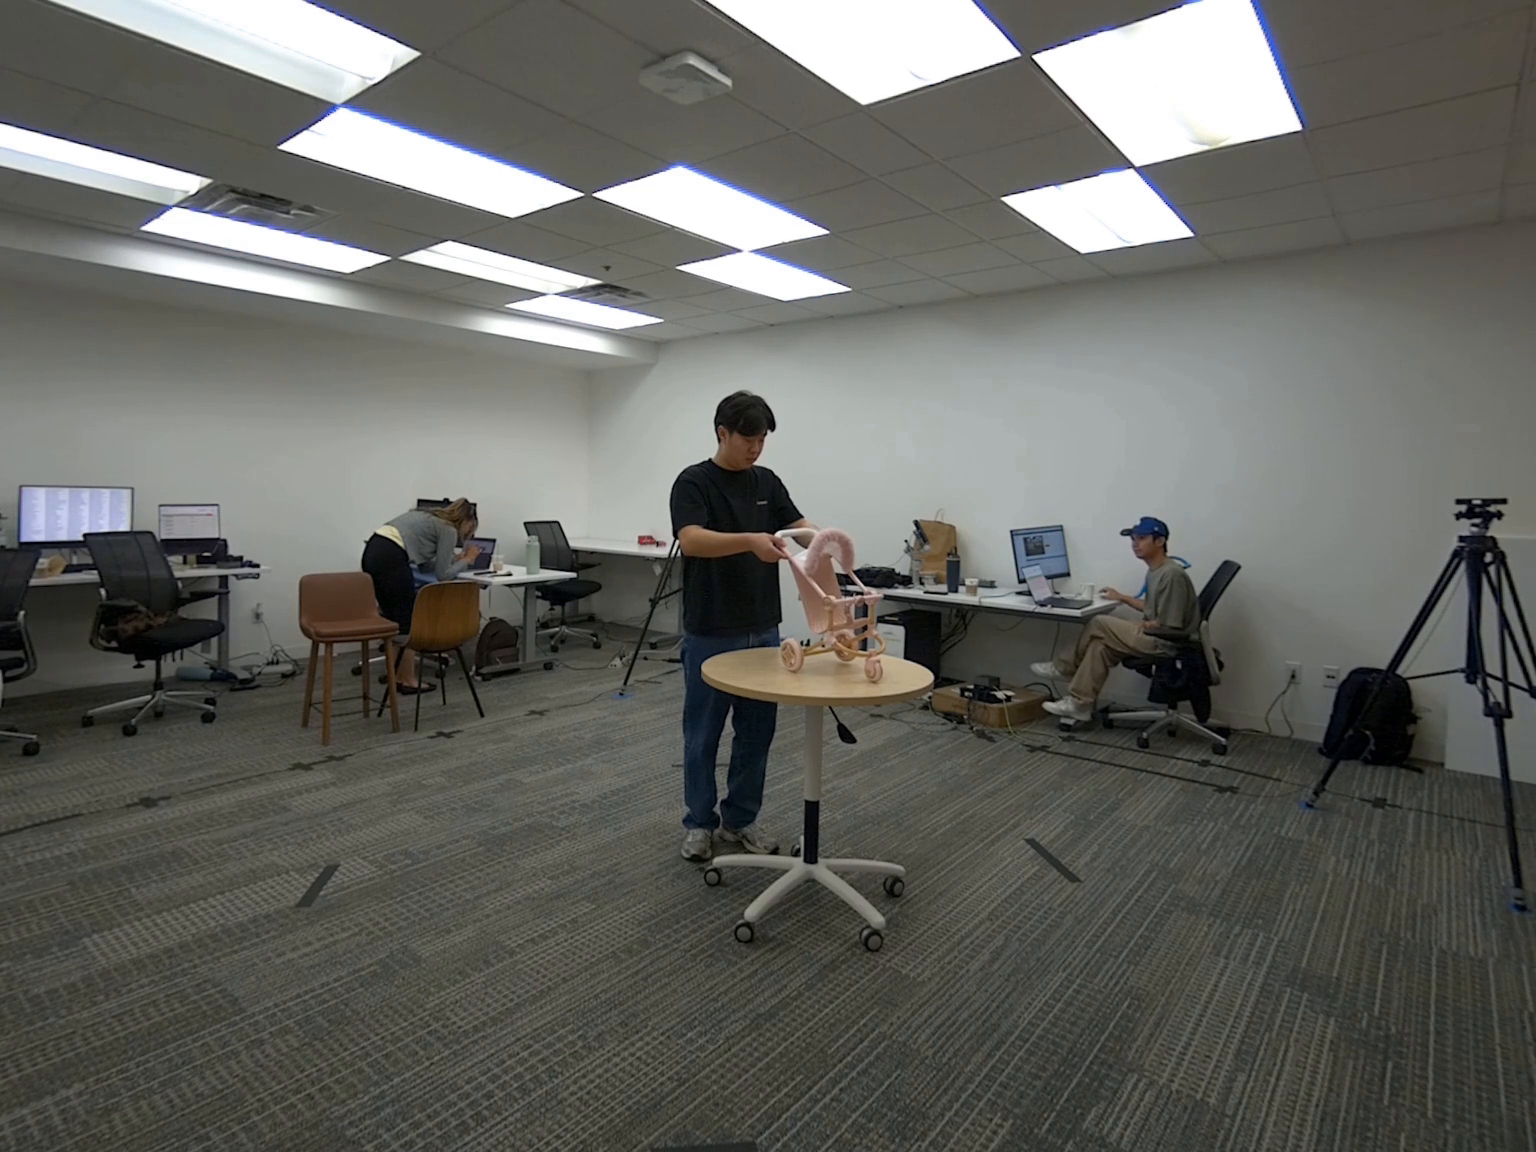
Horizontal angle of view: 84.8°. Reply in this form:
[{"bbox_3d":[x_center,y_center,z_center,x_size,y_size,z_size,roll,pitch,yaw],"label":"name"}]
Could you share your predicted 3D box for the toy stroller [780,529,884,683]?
[{"bbox_3d":[0.200,0.083,2.798,0.274,0.539,0.348,-2,-8,-33],"label":"toy stroller"}]
